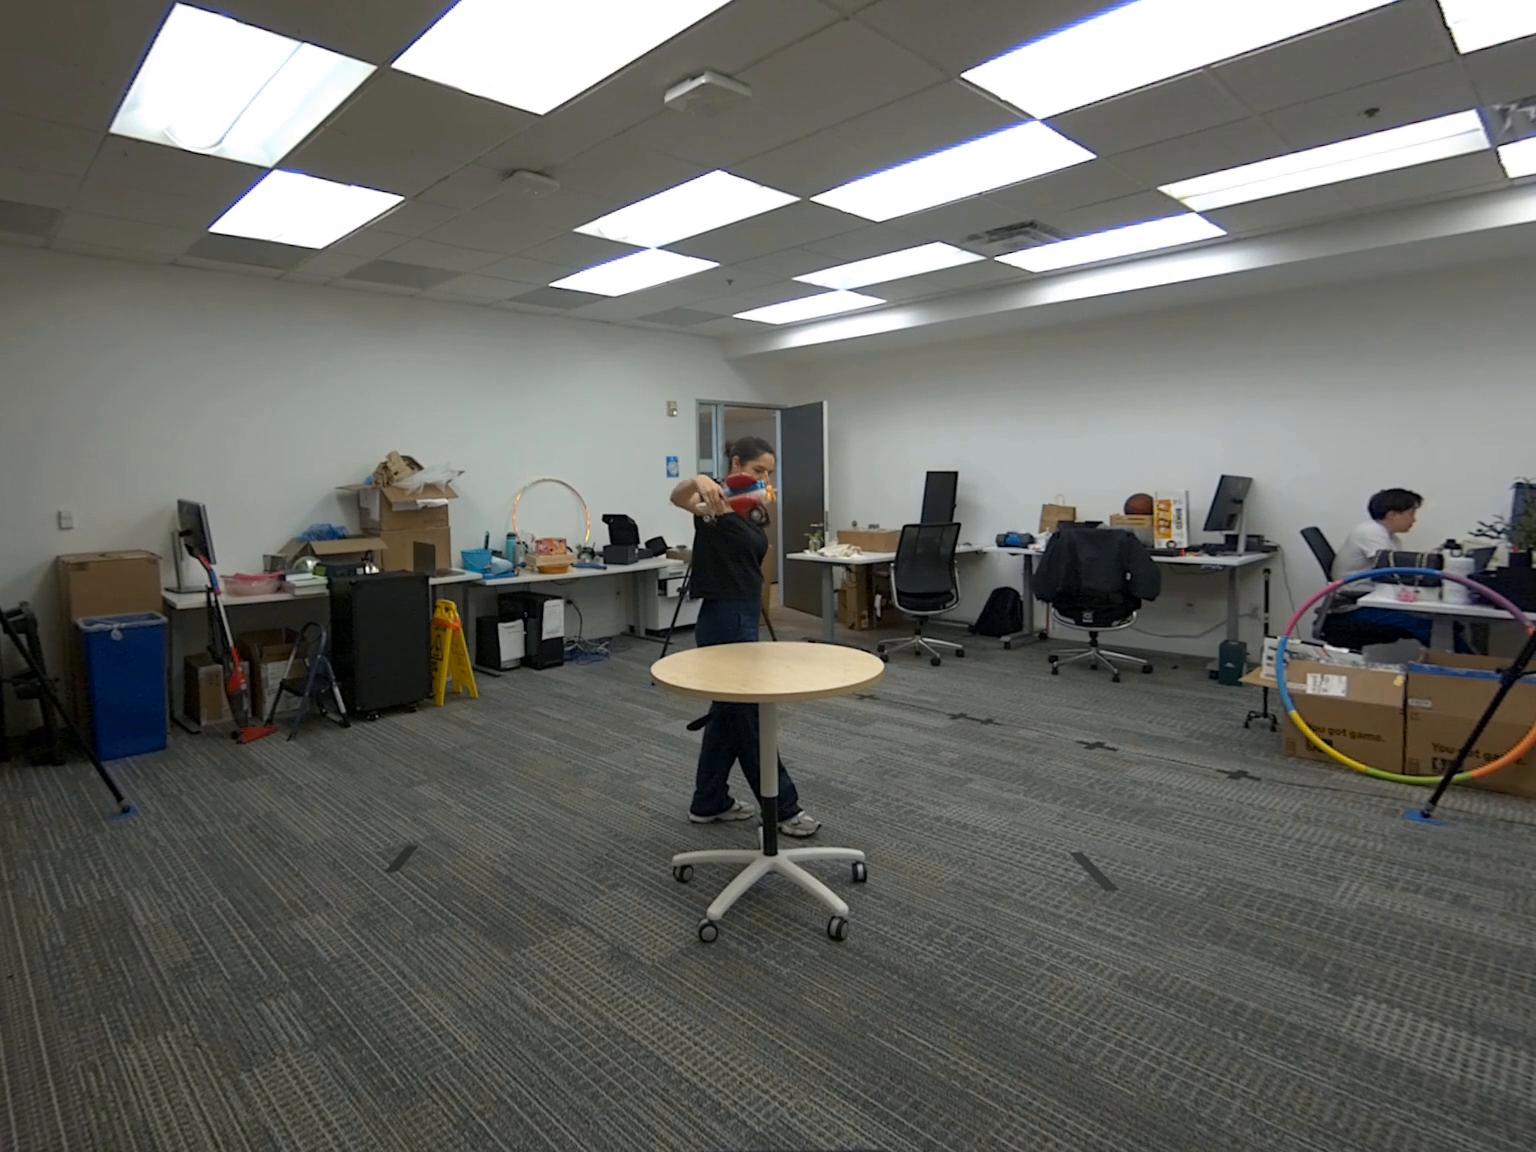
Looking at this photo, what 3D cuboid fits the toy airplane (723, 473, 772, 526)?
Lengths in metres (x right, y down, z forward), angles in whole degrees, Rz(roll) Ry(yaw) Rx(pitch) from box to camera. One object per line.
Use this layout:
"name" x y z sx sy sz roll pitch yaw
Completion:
"toy airplane" -0.111 -0.247 2.869 0.257 0.158 0.251 6 -9 -9
